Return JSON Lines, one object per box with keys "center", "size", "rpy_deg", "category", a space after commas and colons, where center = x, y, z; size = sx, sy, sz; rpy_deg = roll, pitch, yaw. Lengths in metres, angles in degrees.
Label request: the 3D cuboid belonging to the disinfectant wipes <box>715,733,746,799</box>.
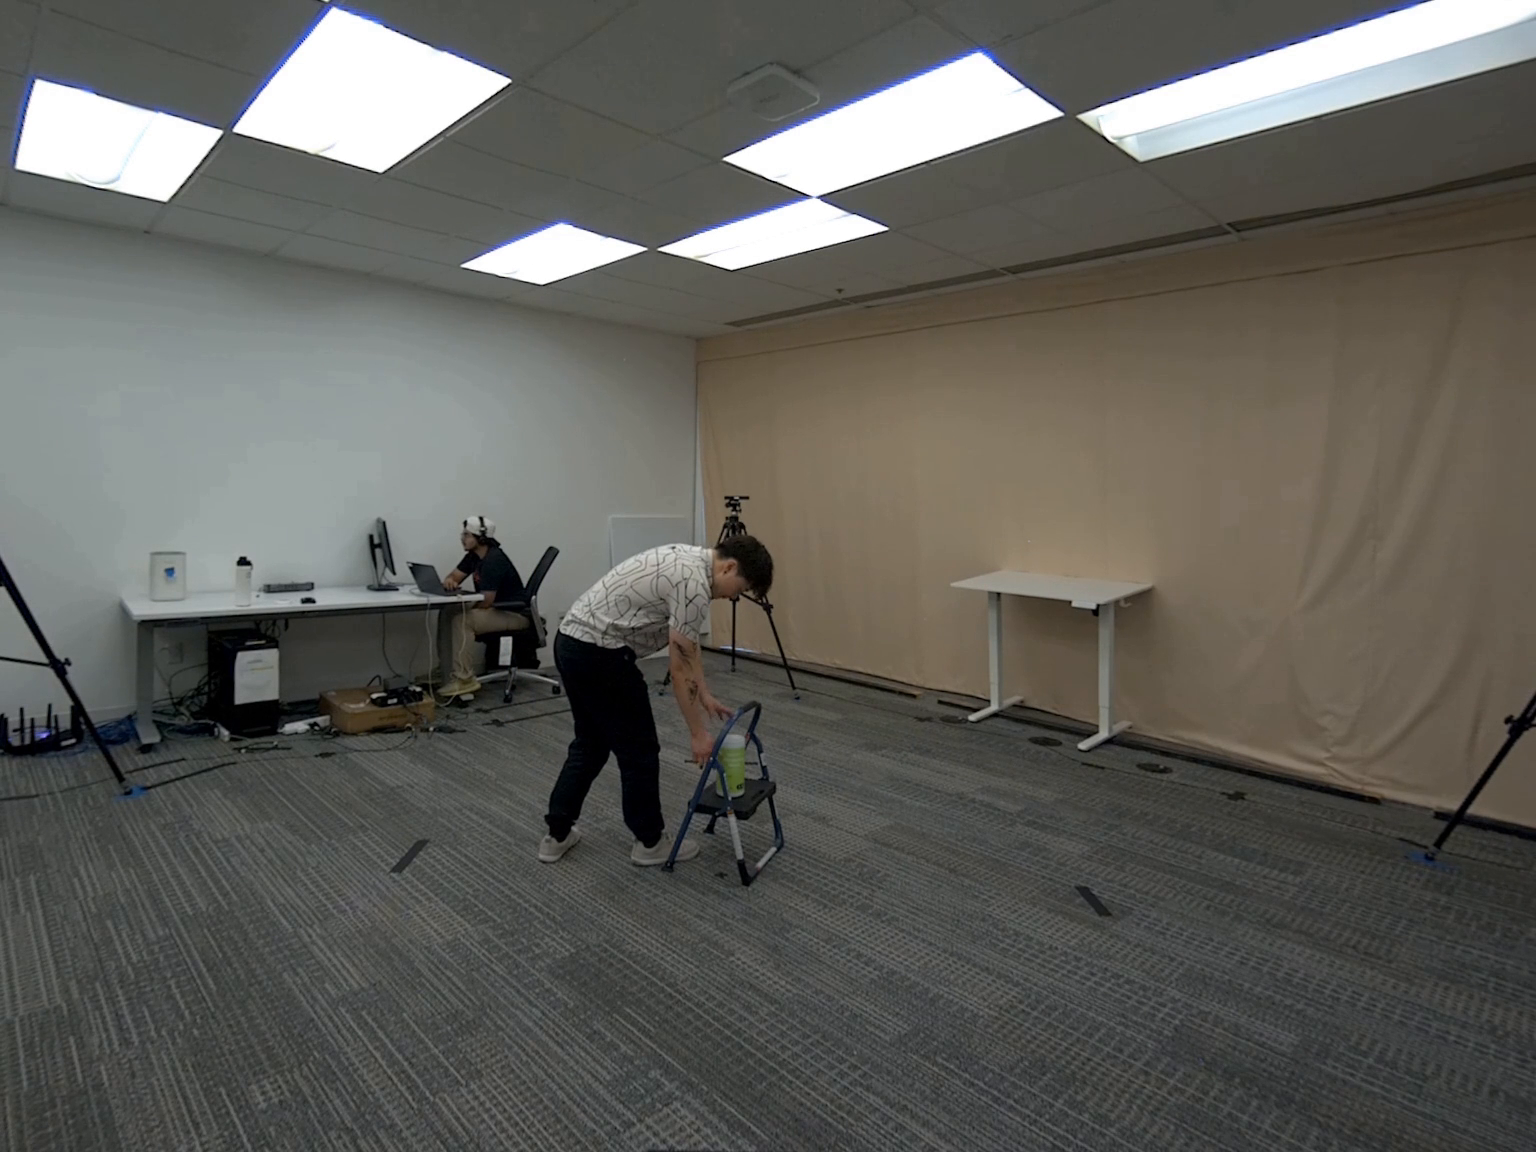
{"center": [-0.151, 0.727, 3.215], "size": [0.118, 0.217, 0.118], "rpy_deg": [1, 5, -1], "category": "disinfectant wipes"}
